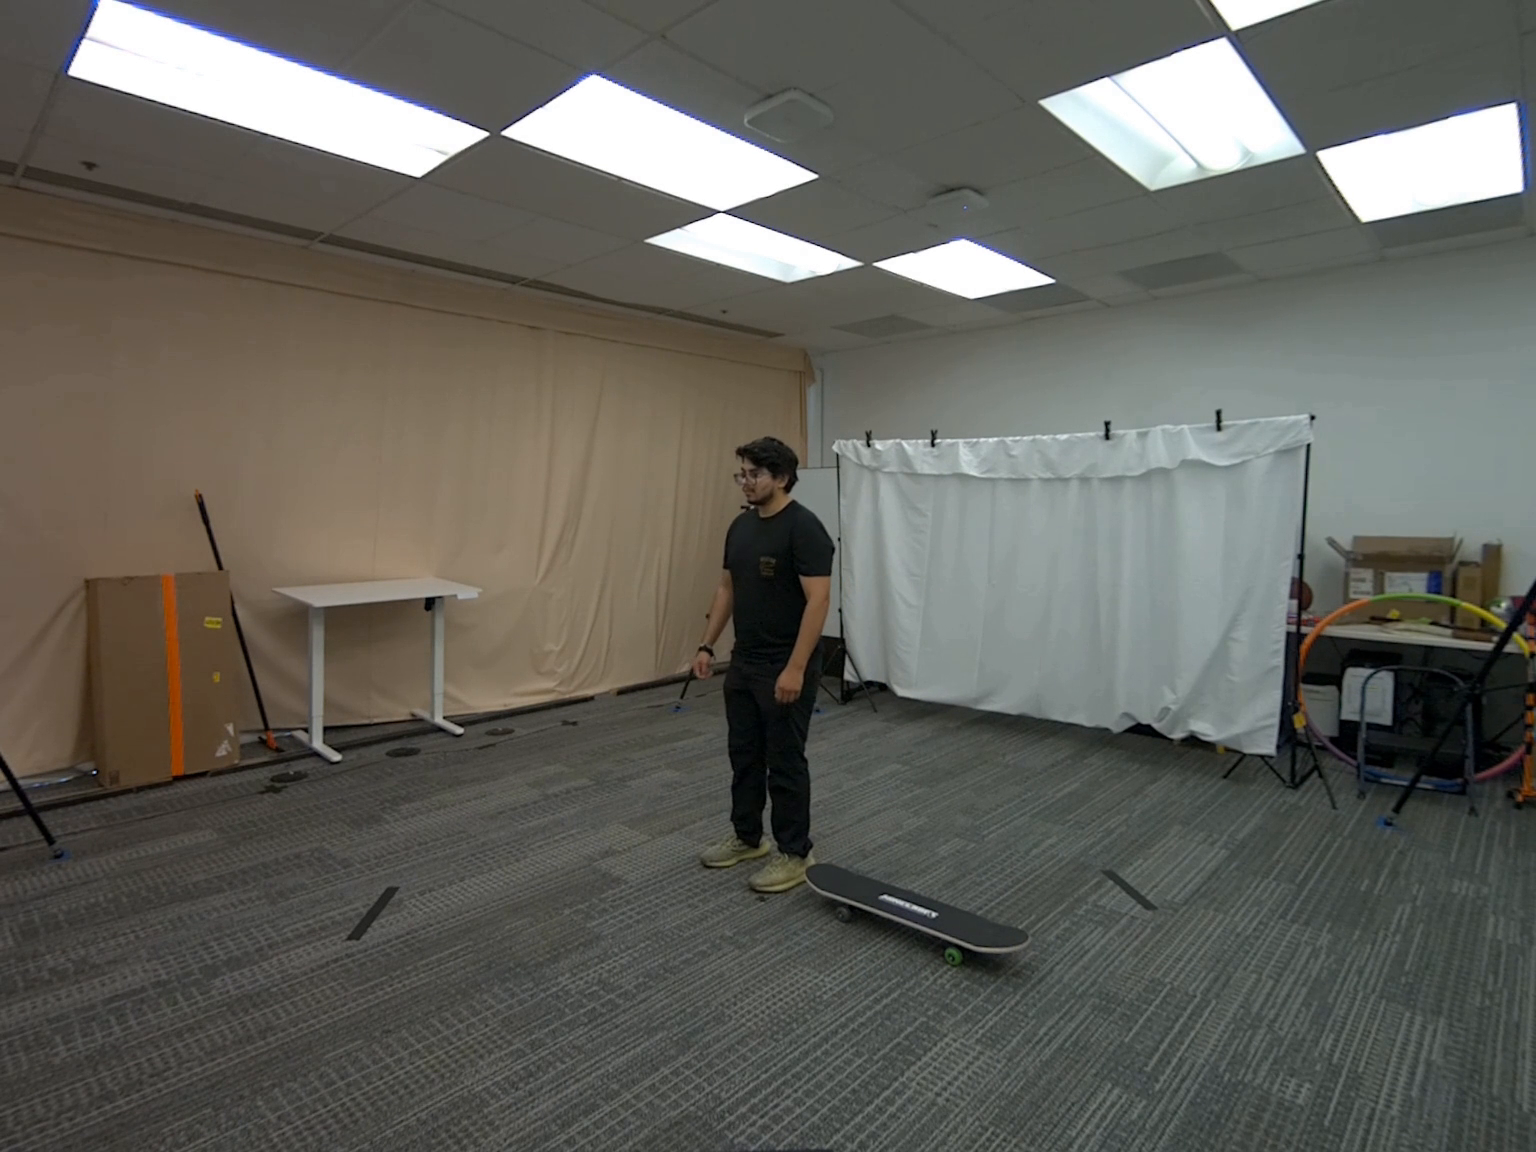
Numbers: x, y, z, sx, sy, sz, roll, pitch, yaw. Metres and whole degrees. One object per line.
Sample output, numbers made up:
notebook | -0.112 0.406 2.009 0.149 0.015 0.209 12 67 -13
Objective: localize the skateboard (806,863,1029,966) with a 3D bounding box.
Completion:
skateboard | 0.460 1.104 2.742 0.811 0.110 0.187 4 5 40
